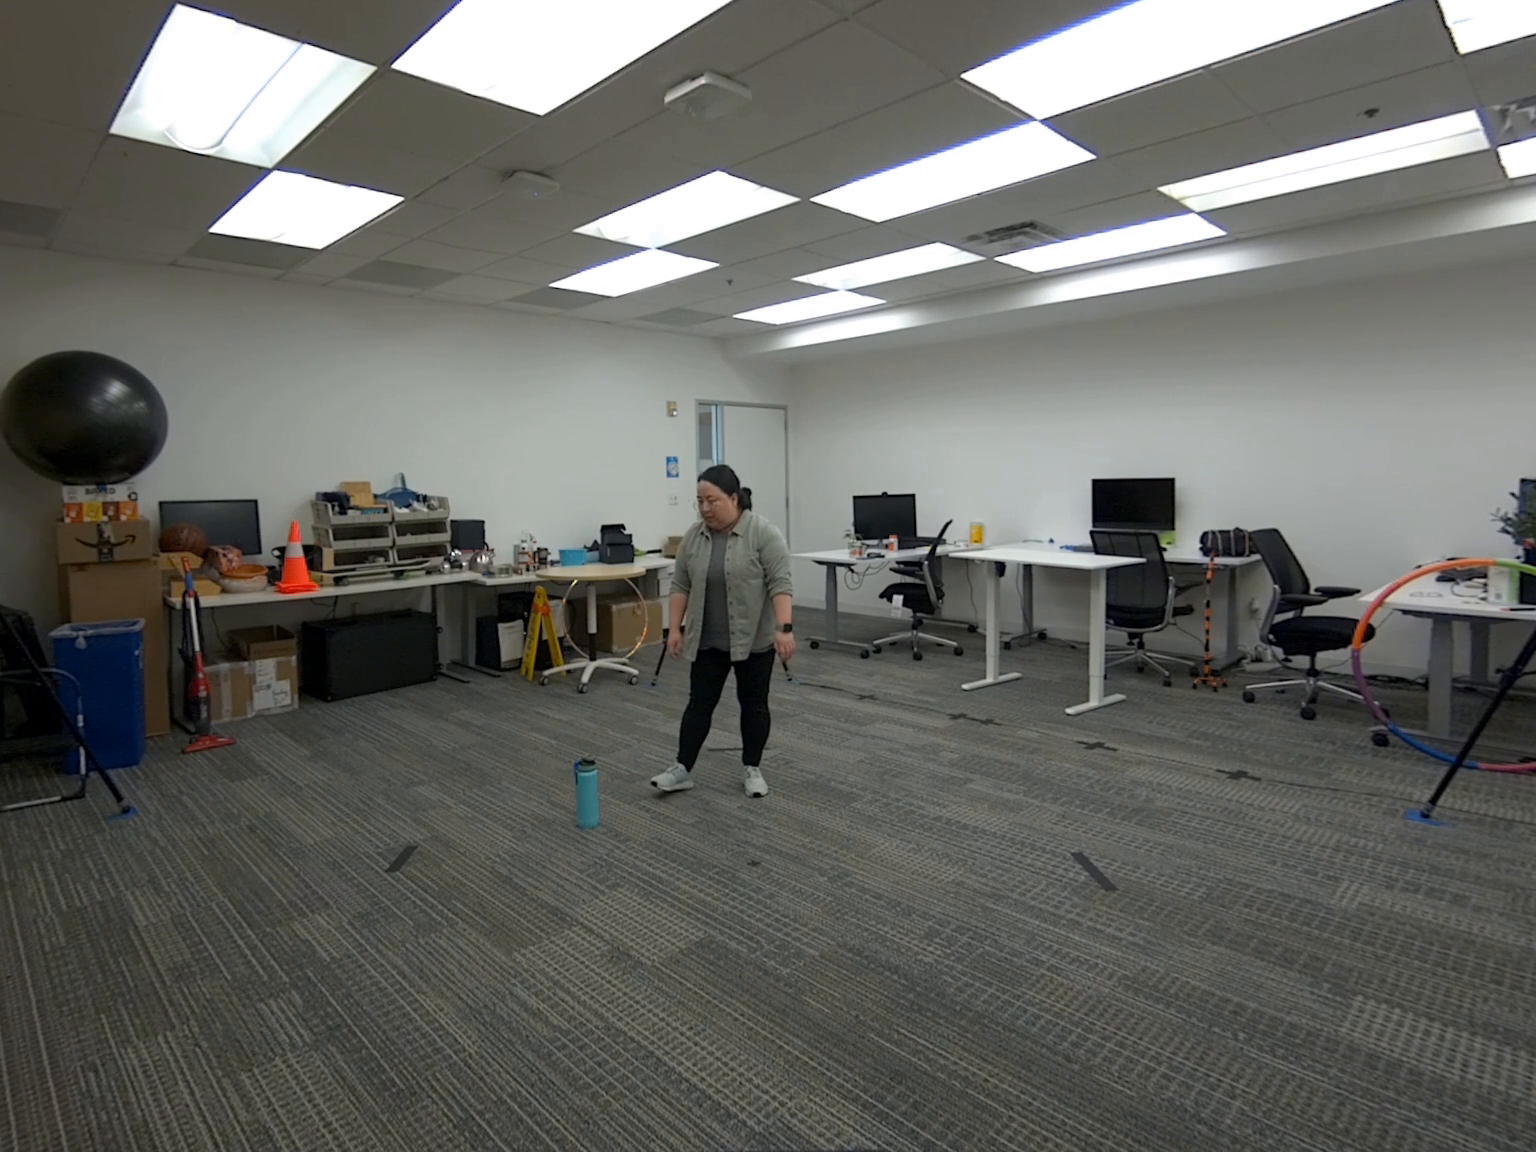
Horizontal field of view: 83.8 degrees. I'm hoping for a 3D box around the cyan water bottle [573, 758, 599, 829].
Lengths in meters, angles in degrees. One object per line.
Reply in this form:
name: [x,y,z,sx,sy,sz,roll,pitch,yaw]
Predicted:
cyan water bottle: [-0.741,0.876,3.489,0.092,0.282,0.092,-2,3,-2]
